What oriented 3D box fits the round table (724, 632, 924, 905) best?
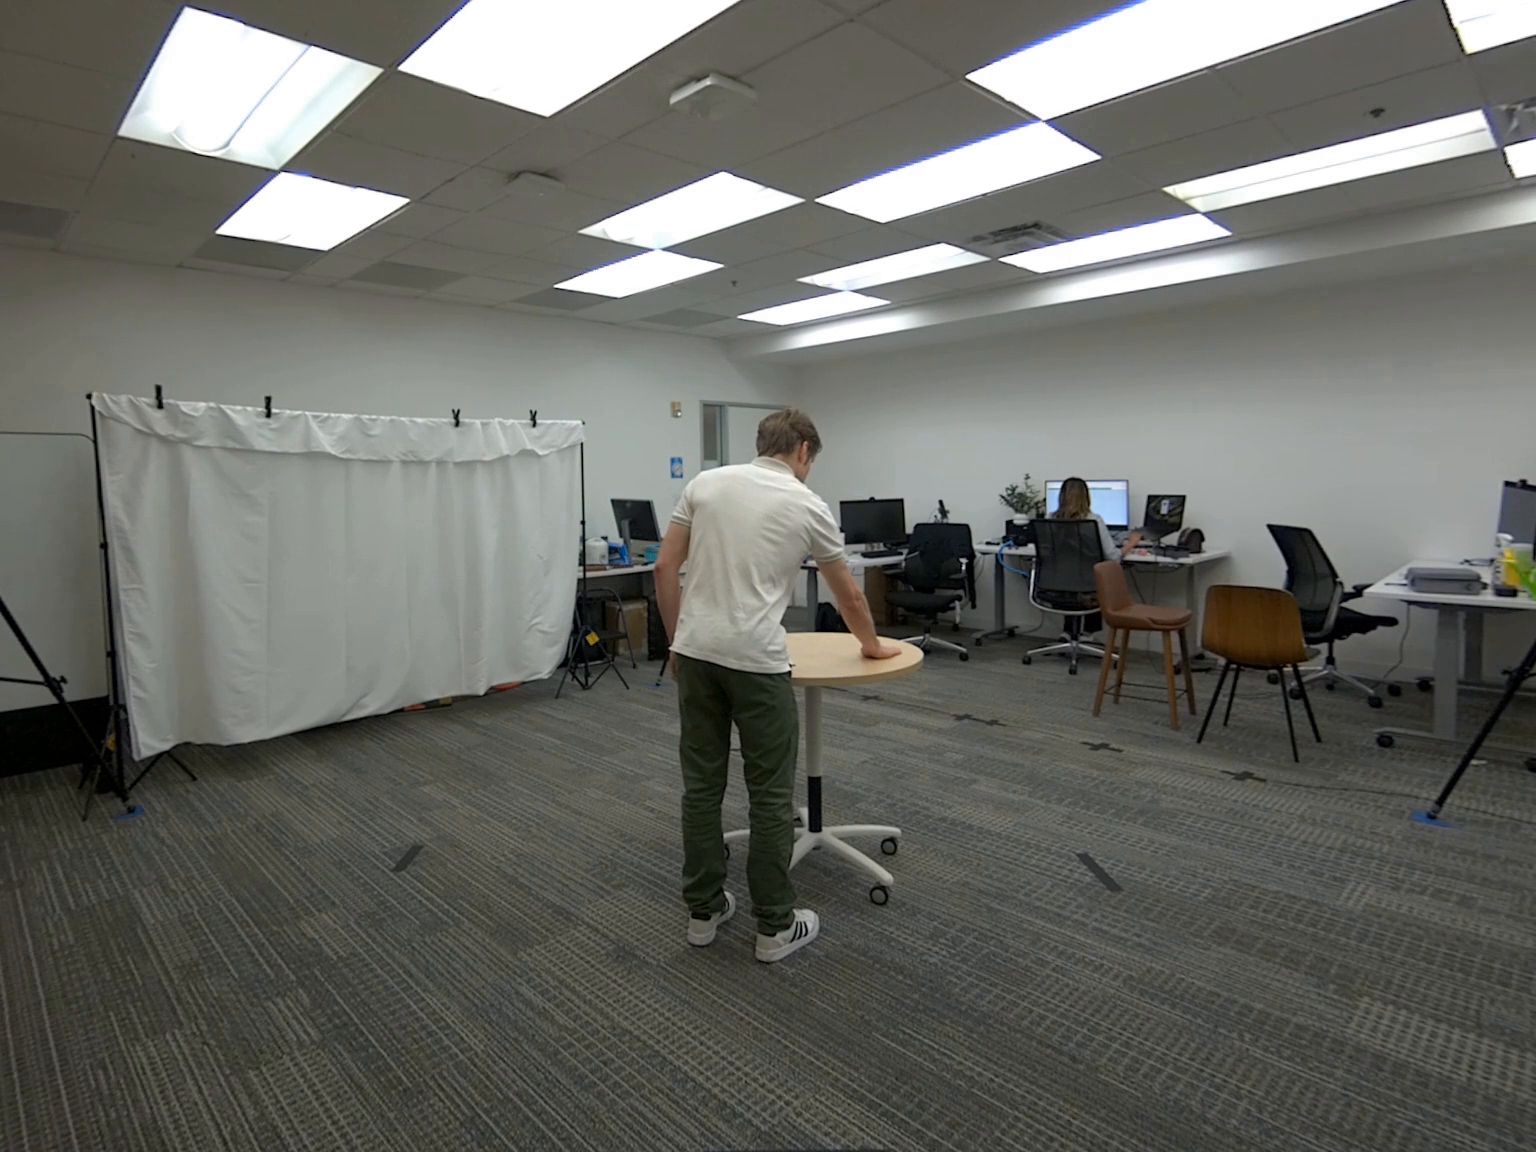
[{"bbox_3d":[0.181,0.656,3.047,0.784,0.783,0.789,-2,5,-2],"label":"round table"}]
